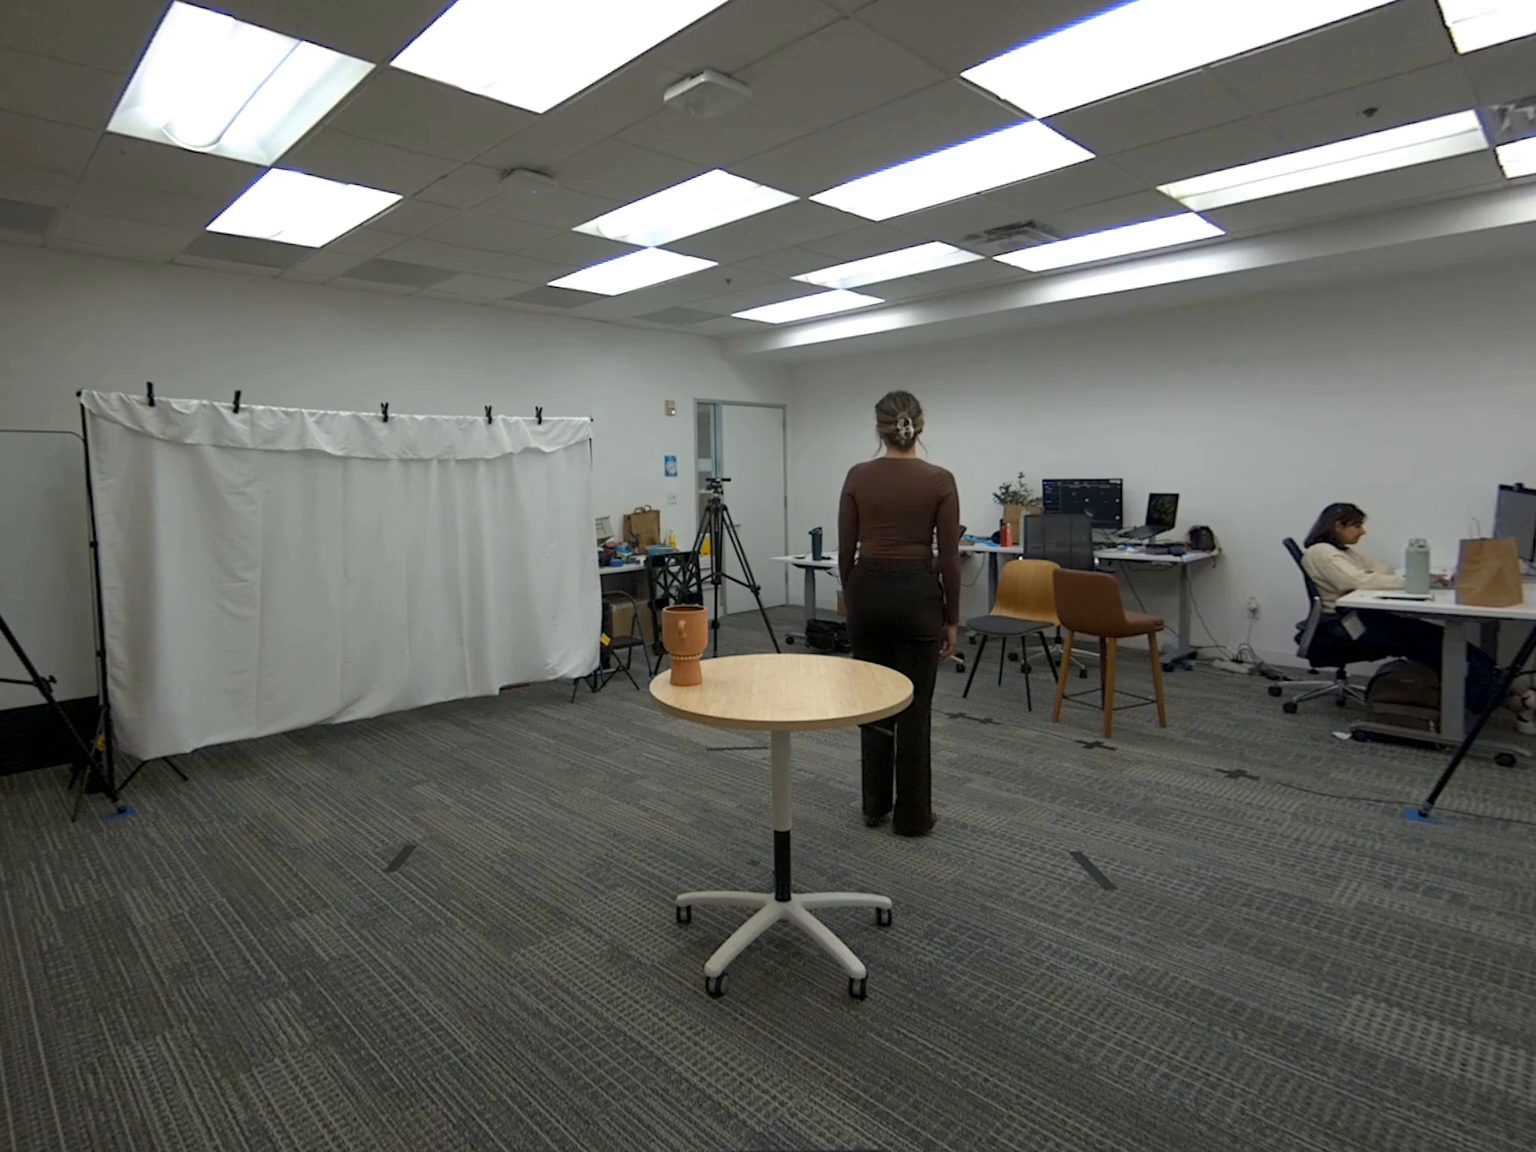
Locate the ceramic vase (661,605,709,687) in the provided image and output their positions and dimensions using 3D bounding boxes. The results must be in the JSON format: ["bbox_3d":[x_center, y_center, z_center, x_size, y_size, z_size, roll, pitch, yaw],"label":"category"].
[{"bbox_3d":[-0.237,0.203,2.523,0.139,0.219,0.155,4,6,42],"label":"ceramic vase"}]
